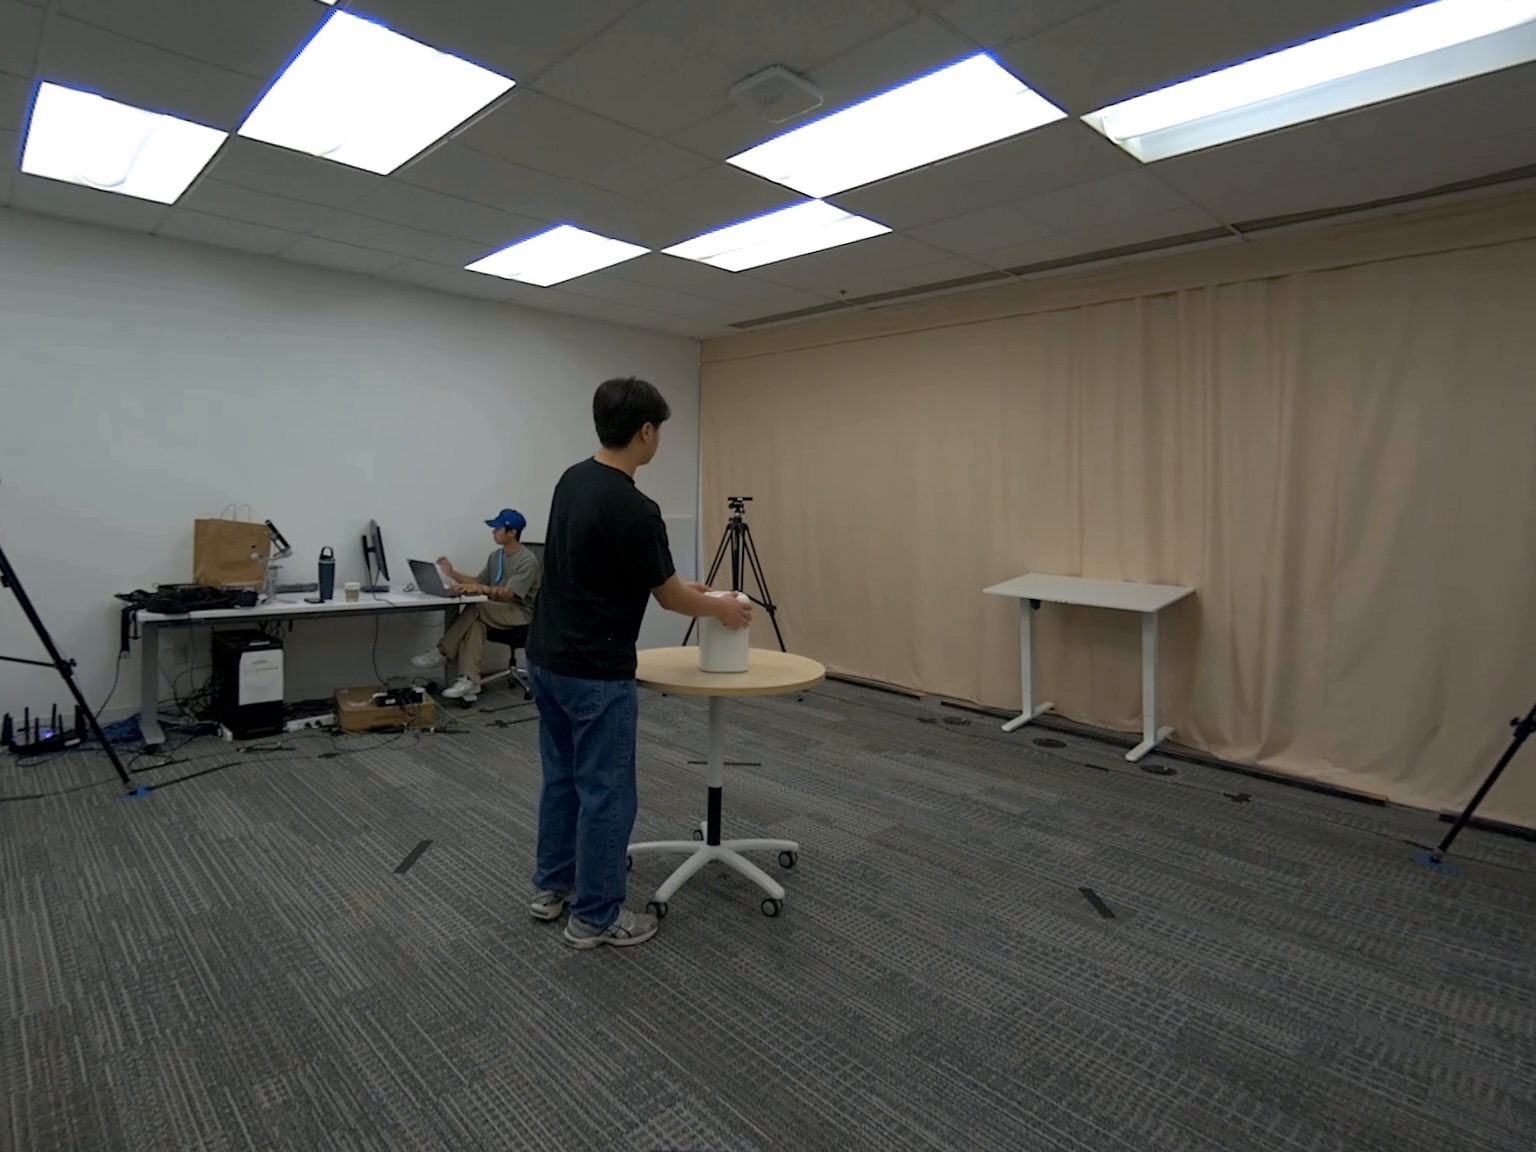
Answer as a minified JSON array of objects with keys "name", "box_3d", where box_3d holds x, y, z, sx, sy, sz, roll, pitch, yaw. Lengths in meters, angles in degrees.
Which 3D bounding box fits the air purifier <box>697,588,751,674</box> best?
[{"name":"air purifier","box_3d":[-0.159,0.196,2.944,0.170,0.264,0.173,0,5,-5]}]
